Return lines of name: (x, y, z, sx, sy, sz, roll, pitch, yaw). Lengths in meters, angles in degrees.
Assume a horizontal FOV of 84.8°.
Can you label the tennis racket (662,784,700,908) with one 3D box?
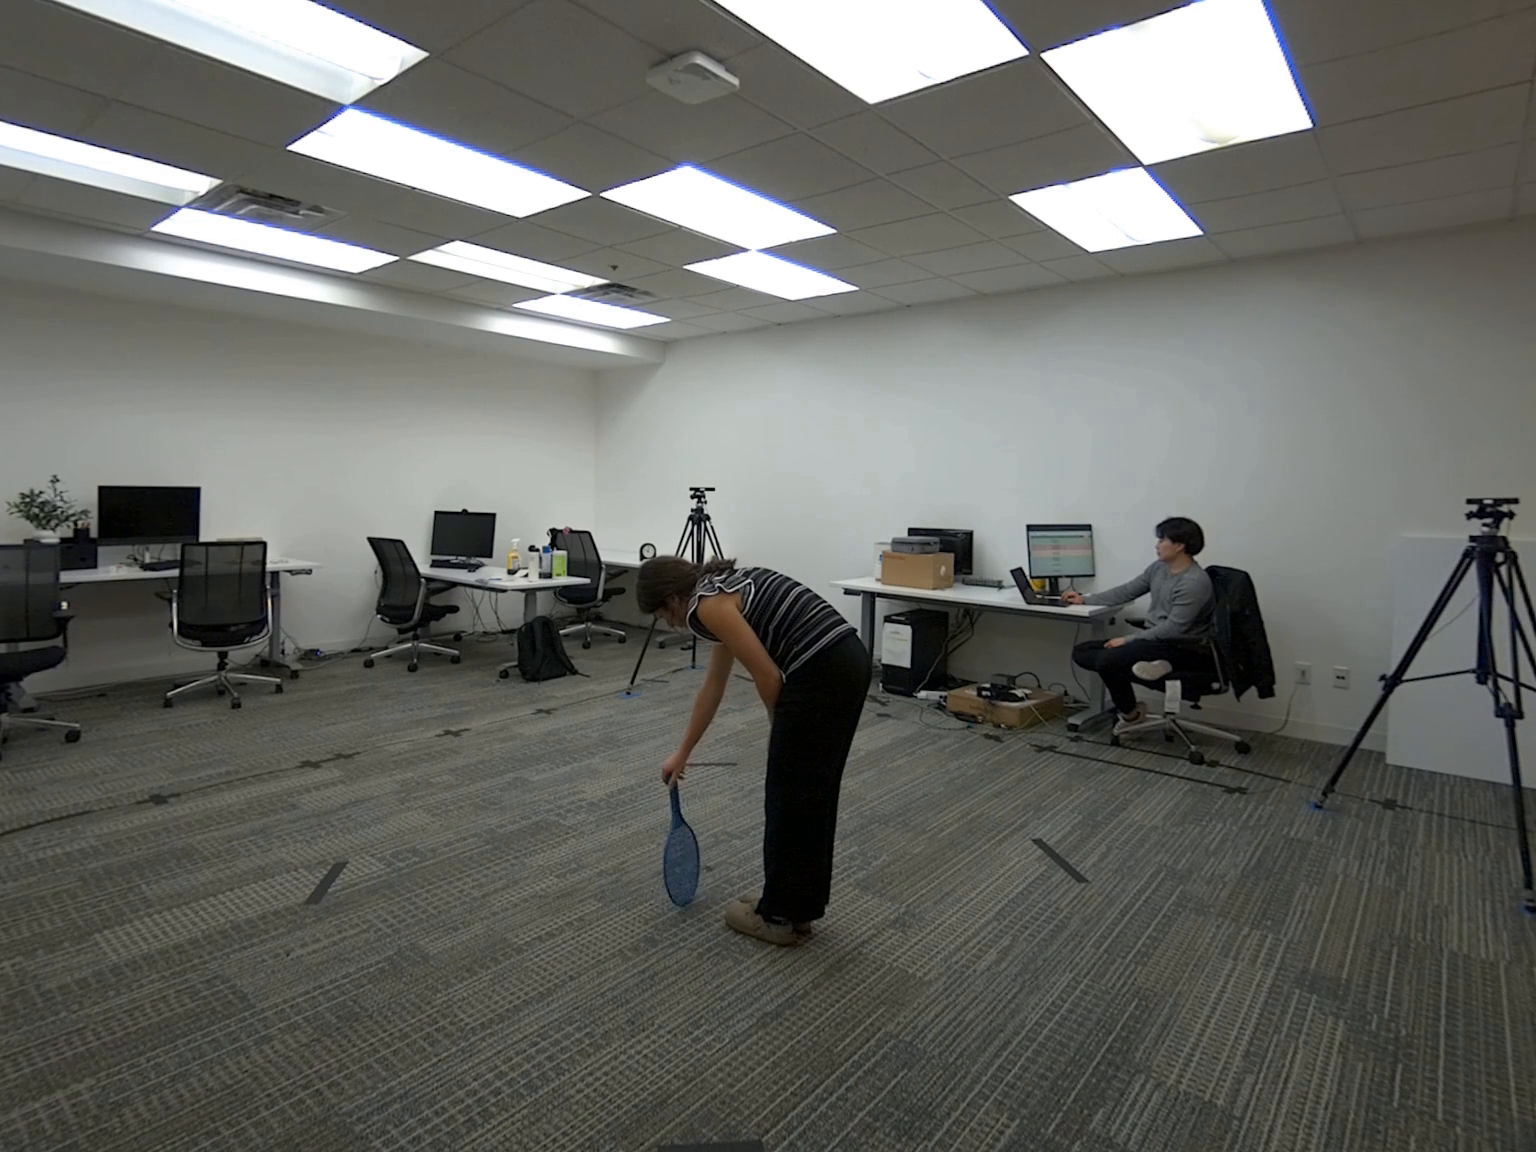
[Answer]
tennis racket: (-0.307, 0.875, 2.835, 0.032, 0.433, 0.209, -7, 0, 25)
